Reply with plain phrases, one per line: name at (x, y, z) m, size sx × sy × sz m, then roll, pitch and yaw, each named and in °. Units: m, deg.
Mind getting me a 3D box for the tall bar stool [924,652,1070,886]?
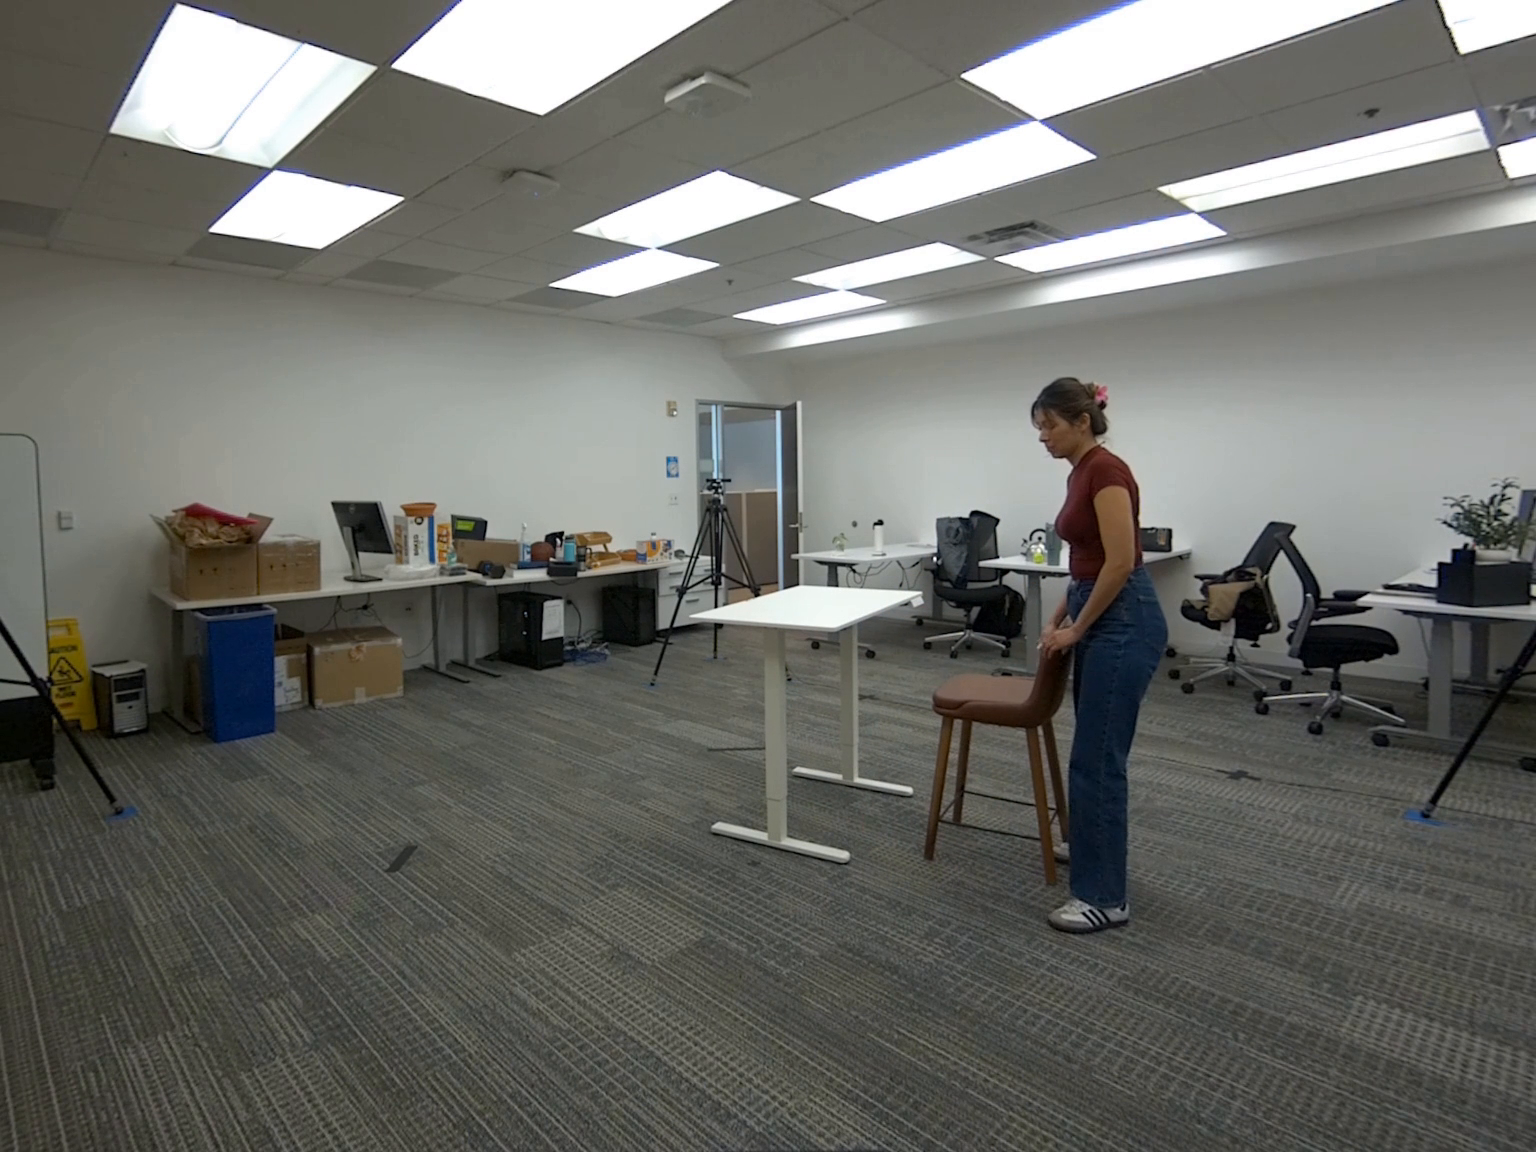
tall bar stool at (0.866, 0.587, 3.142) m, size 0.480 × 0.886 × 0.446 m, roll 4°, pitch 5°, yaw 30°
